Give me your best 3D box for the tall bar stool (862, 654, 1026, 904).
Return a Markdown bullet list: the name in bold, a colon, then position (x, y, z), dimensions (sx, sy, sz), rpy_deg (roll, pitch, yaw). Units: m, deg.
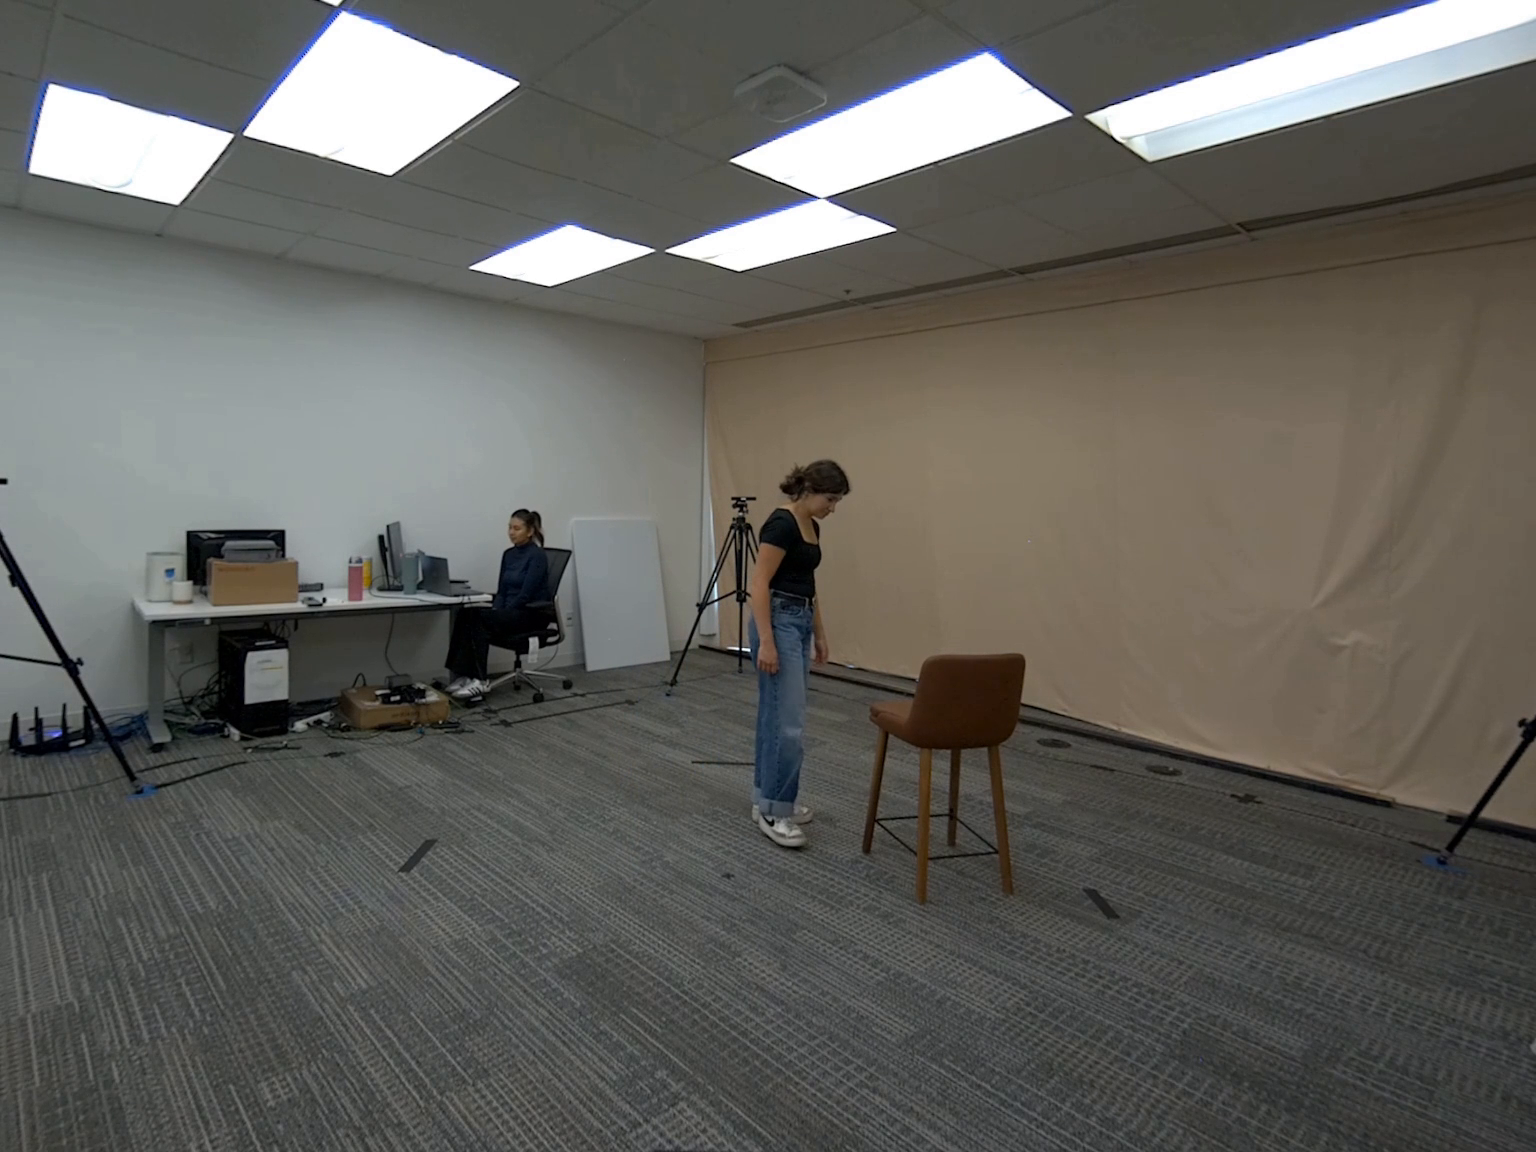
- **tall bar stool**: position (0.645, 0.686, 3.151), dimensions (0.450, 0.886, 0.475), rpy_deg (1, 5, -17)
